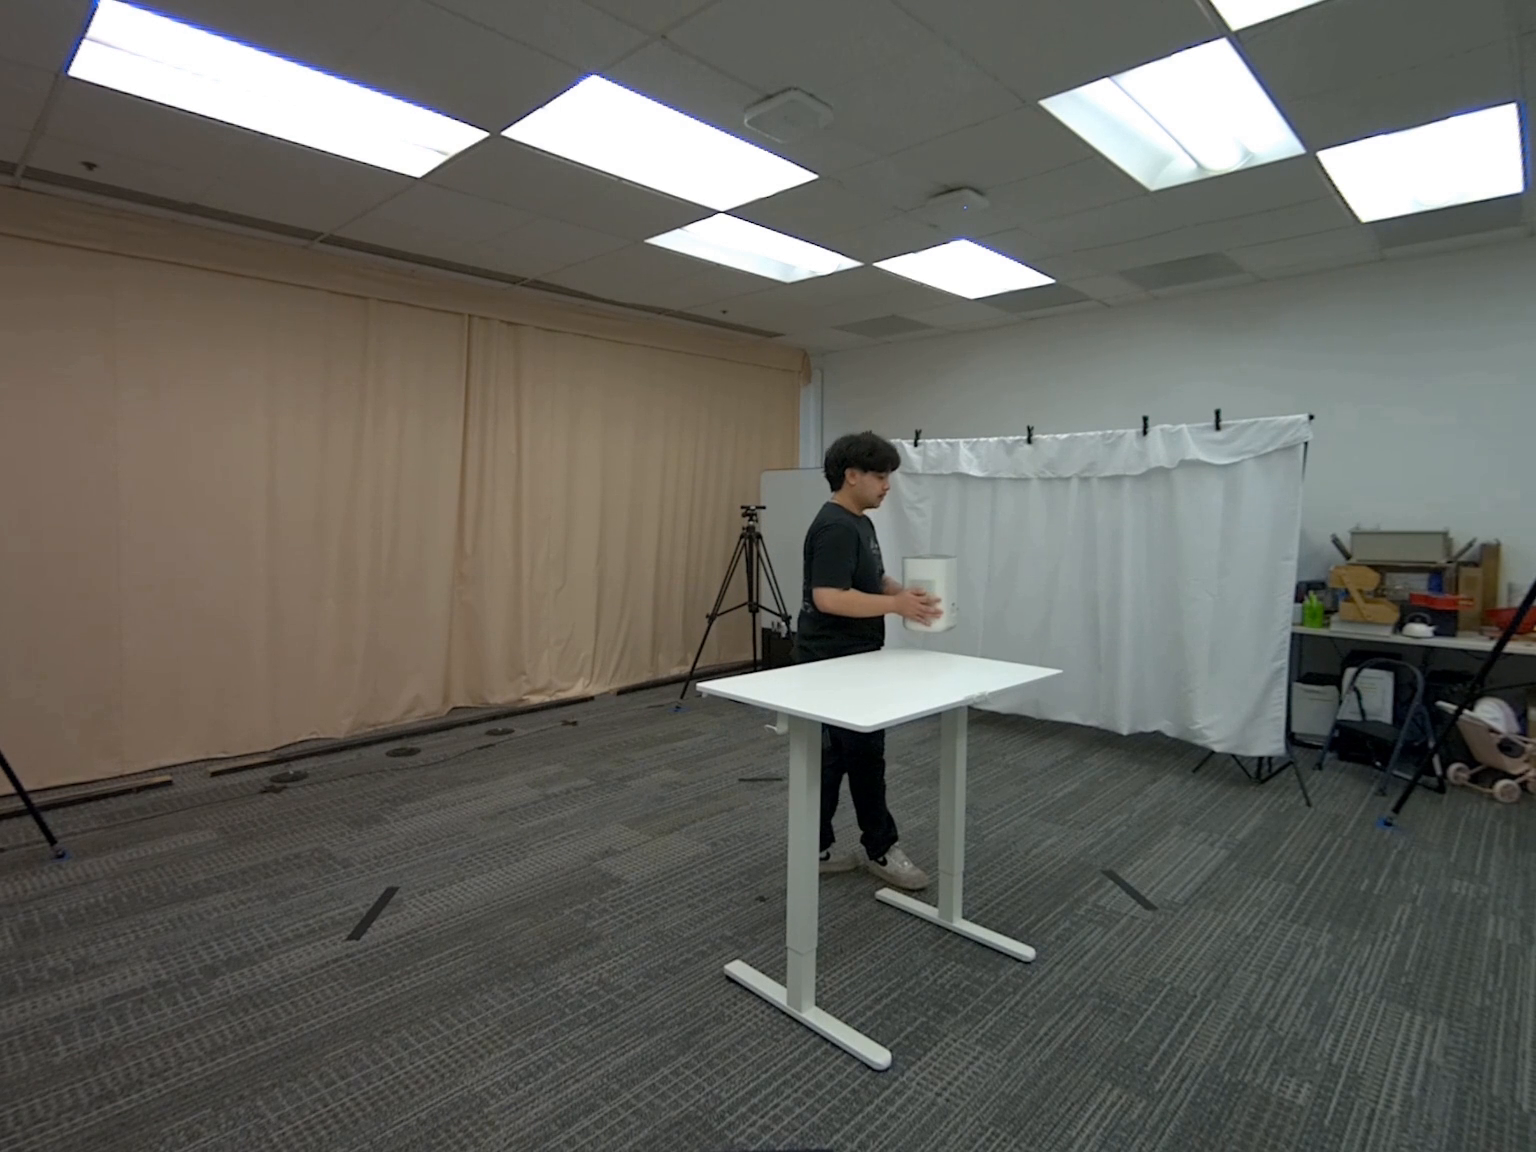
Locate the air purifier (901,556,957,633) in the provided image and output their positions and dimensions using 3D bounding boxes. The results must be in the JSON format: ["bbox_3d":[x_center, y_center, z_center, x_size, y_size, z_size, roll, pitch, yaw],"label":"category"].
[{"bbox_3d":[0.585,0.061,2.992,0.177,0.265,0.166,1,4,32],"label":"air purifier"}]
